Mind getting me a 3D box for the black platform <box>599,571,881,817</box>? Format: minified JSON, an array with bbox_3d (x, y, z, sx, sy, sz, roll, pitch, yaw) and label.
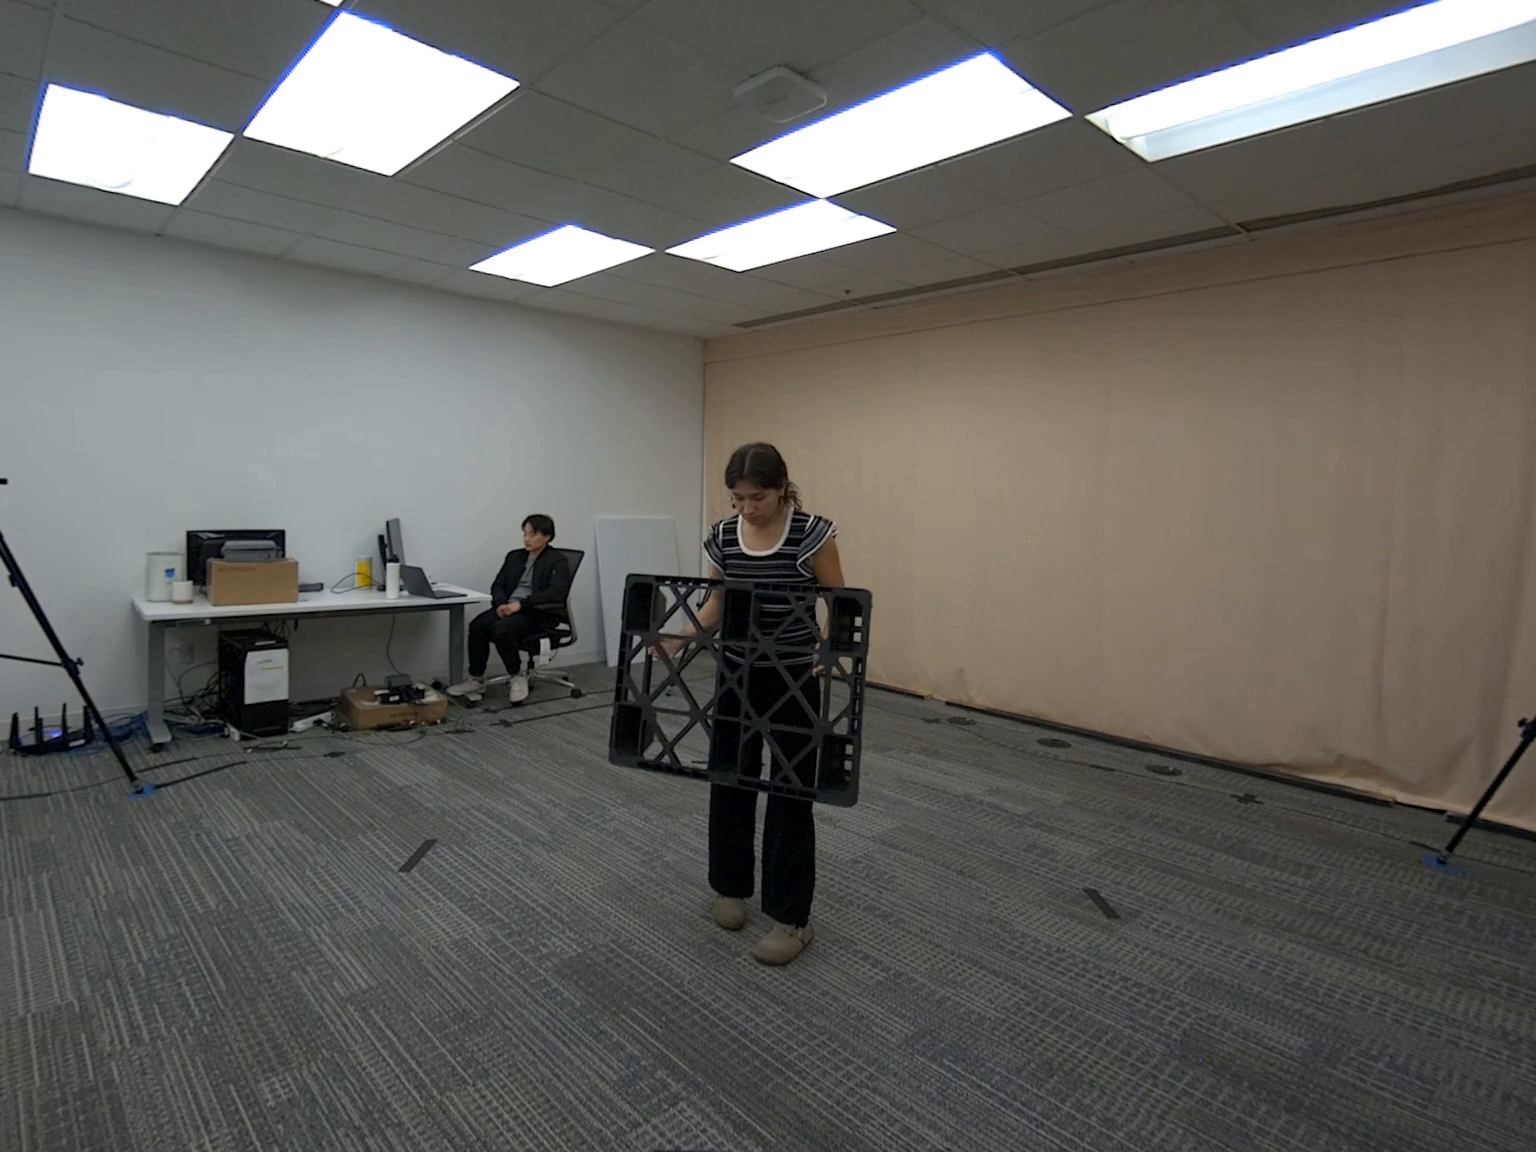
[{"bbox_3d":[-0.100,0.318,2.533,0.822,0.607,0.140,4,-5,26],"label":"black platform"}]
